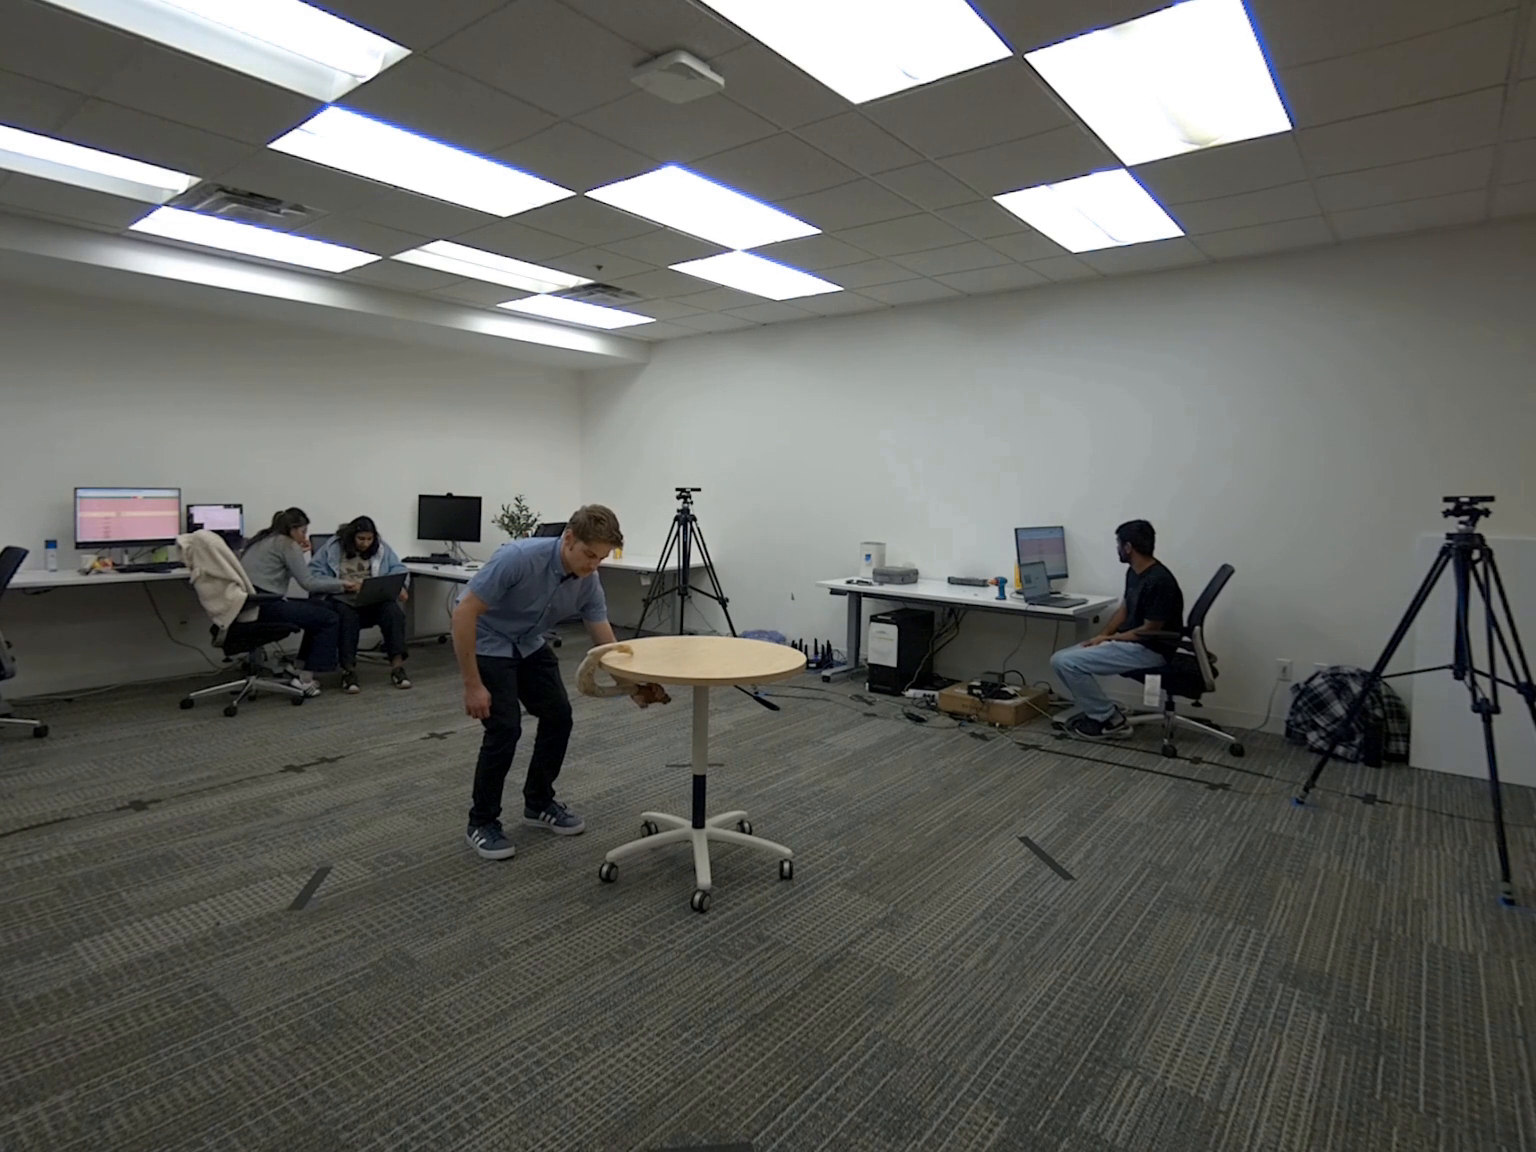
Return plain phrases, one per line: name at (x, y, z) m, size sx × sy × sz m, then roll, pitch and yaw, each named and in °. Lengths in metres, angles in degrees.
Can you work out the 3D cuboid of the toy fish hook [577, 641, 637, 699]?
toy fish hook at (-0.512, 0.371, 3.110) m, size 0.486 × 0.224 × 0.050 m, roll 24°, pitch 13°, yaw -48°
